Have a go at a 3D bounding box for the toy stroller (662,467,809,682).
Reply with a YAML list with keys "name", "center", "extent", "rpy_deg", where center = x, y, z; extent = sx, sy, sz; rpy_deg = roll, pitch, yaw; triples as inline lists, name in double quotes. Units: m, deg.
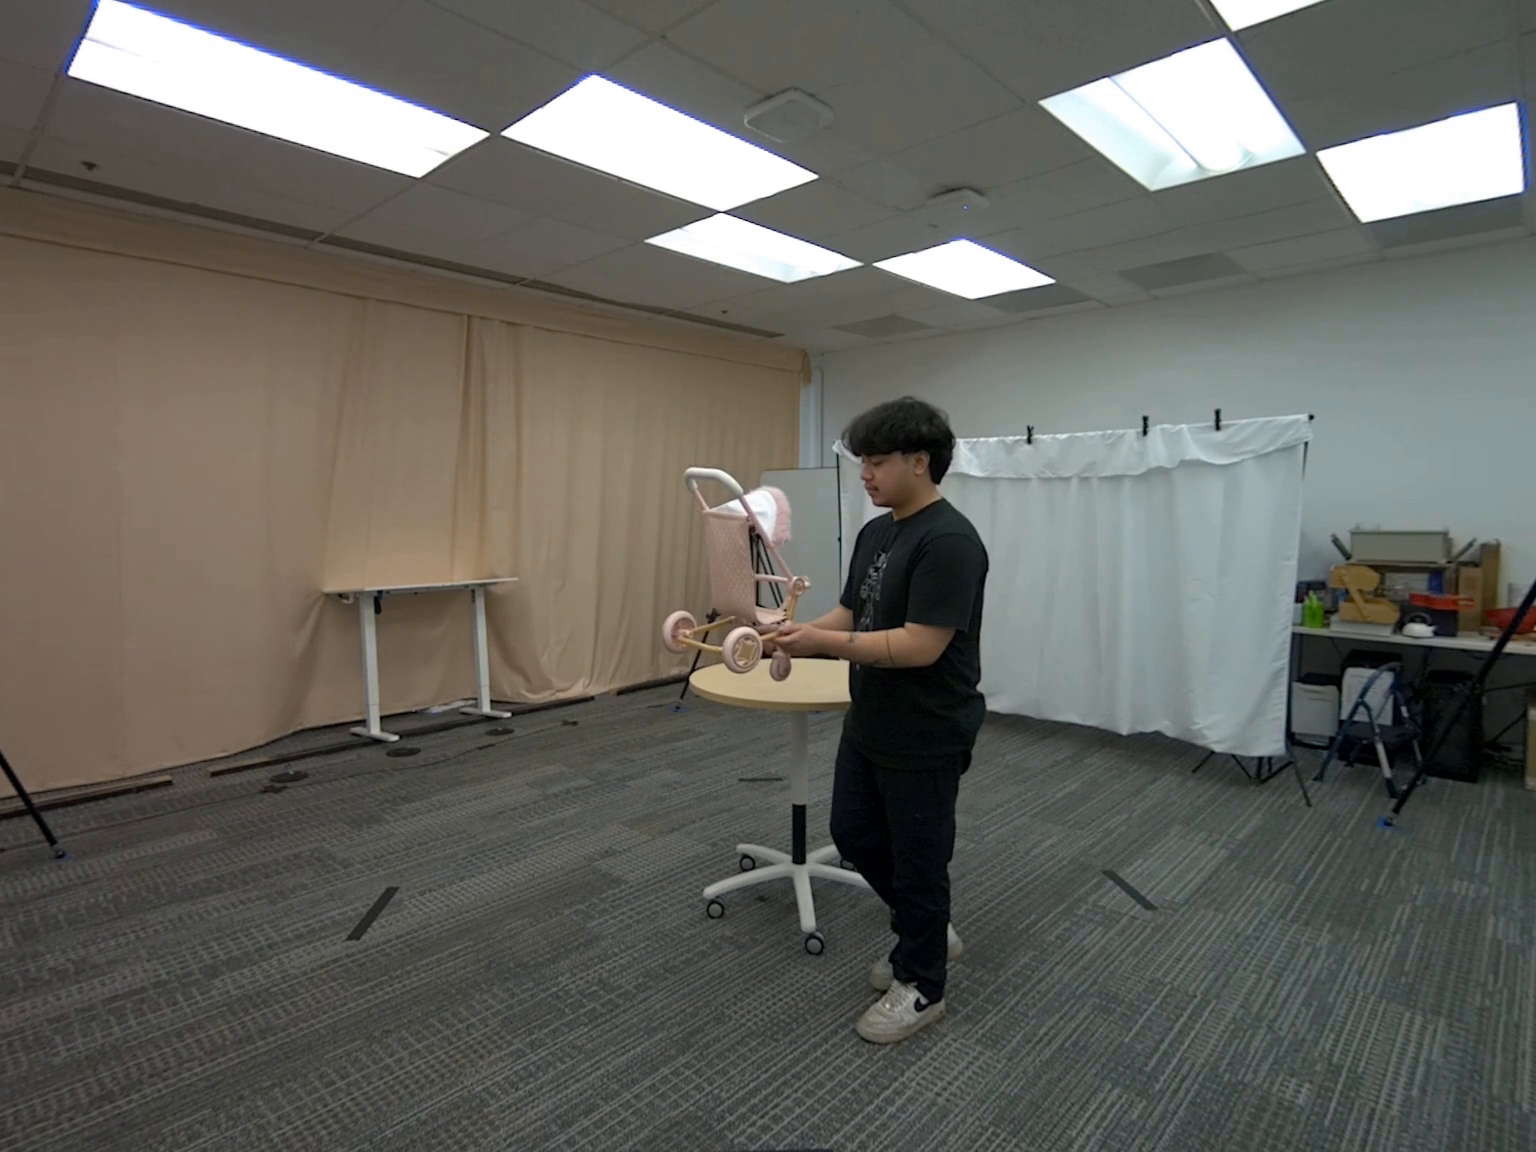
- name: "toy stroller"
  center: [-0.044, 0.013, 2.115]
  extent: [0.331, 0.534, 0.290]
  rpy_deg: [3, 3, -35]
